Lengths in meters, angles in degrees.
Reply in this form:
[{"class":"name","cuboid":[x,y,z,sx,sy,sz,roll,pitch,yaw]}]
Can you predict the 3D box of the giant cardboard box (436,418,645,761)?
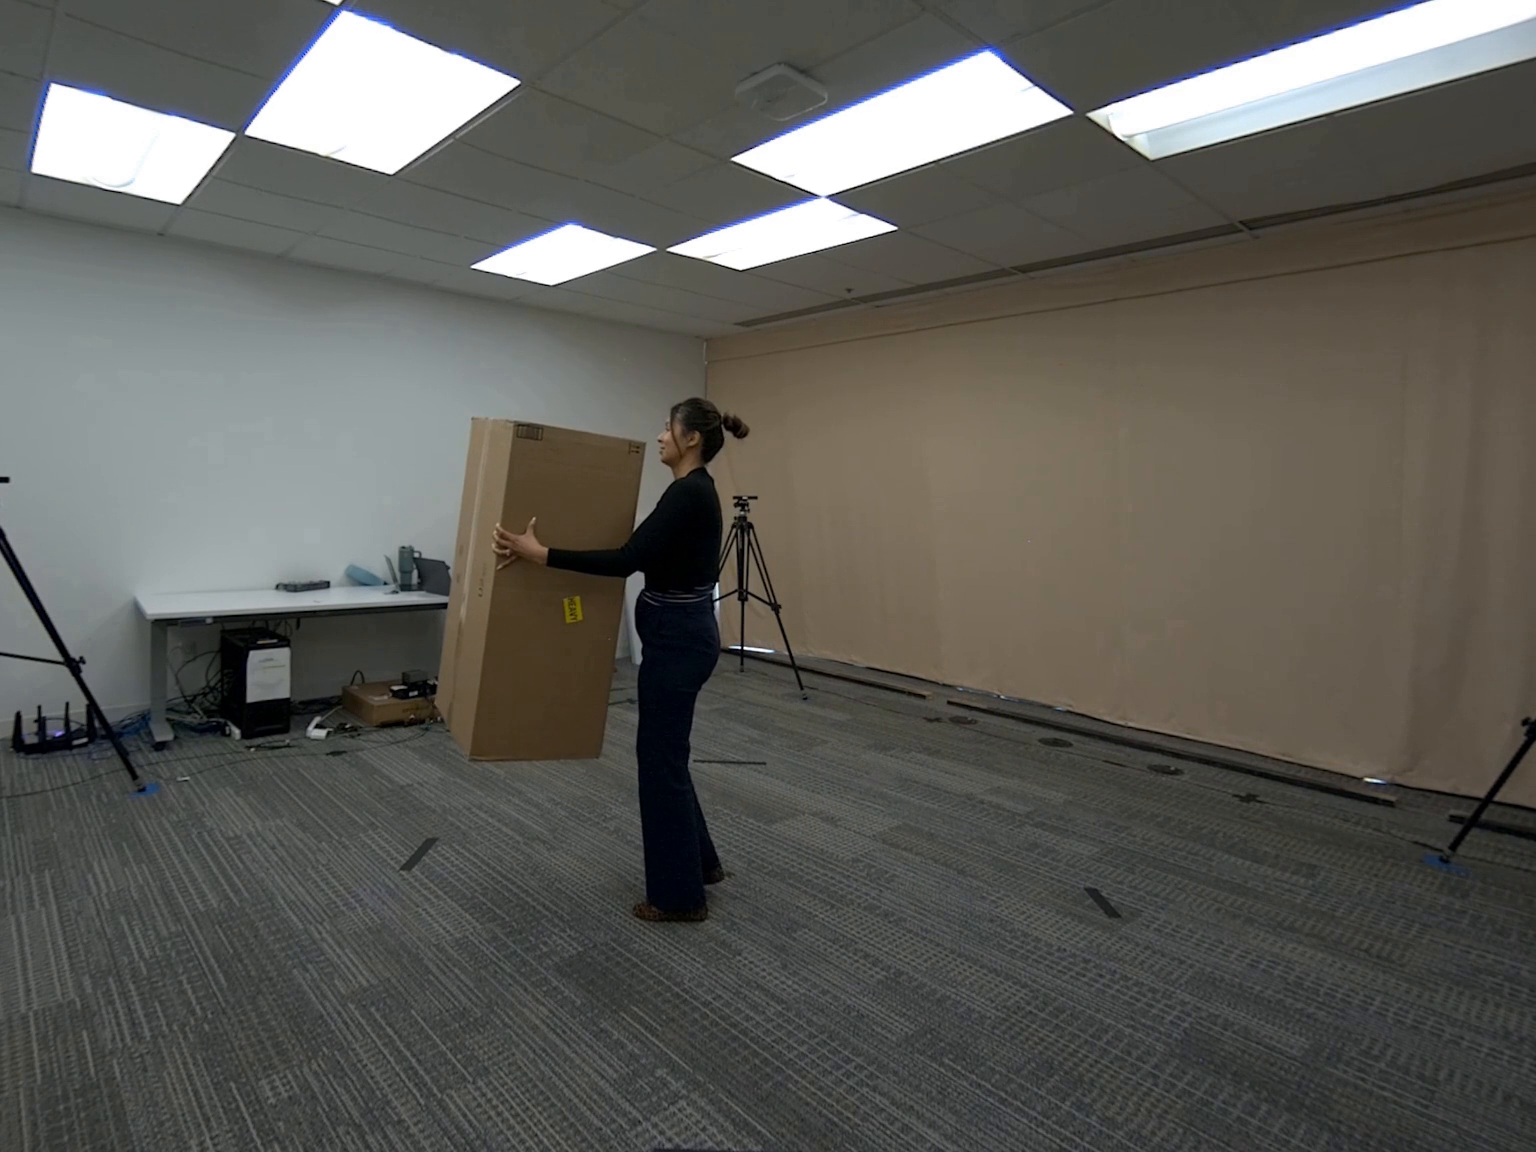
[{"class":"giant cardboard box","cuboid":[-0.783,0.020,2.815,0.417,1.023,0.592,6,5,-31]}]
